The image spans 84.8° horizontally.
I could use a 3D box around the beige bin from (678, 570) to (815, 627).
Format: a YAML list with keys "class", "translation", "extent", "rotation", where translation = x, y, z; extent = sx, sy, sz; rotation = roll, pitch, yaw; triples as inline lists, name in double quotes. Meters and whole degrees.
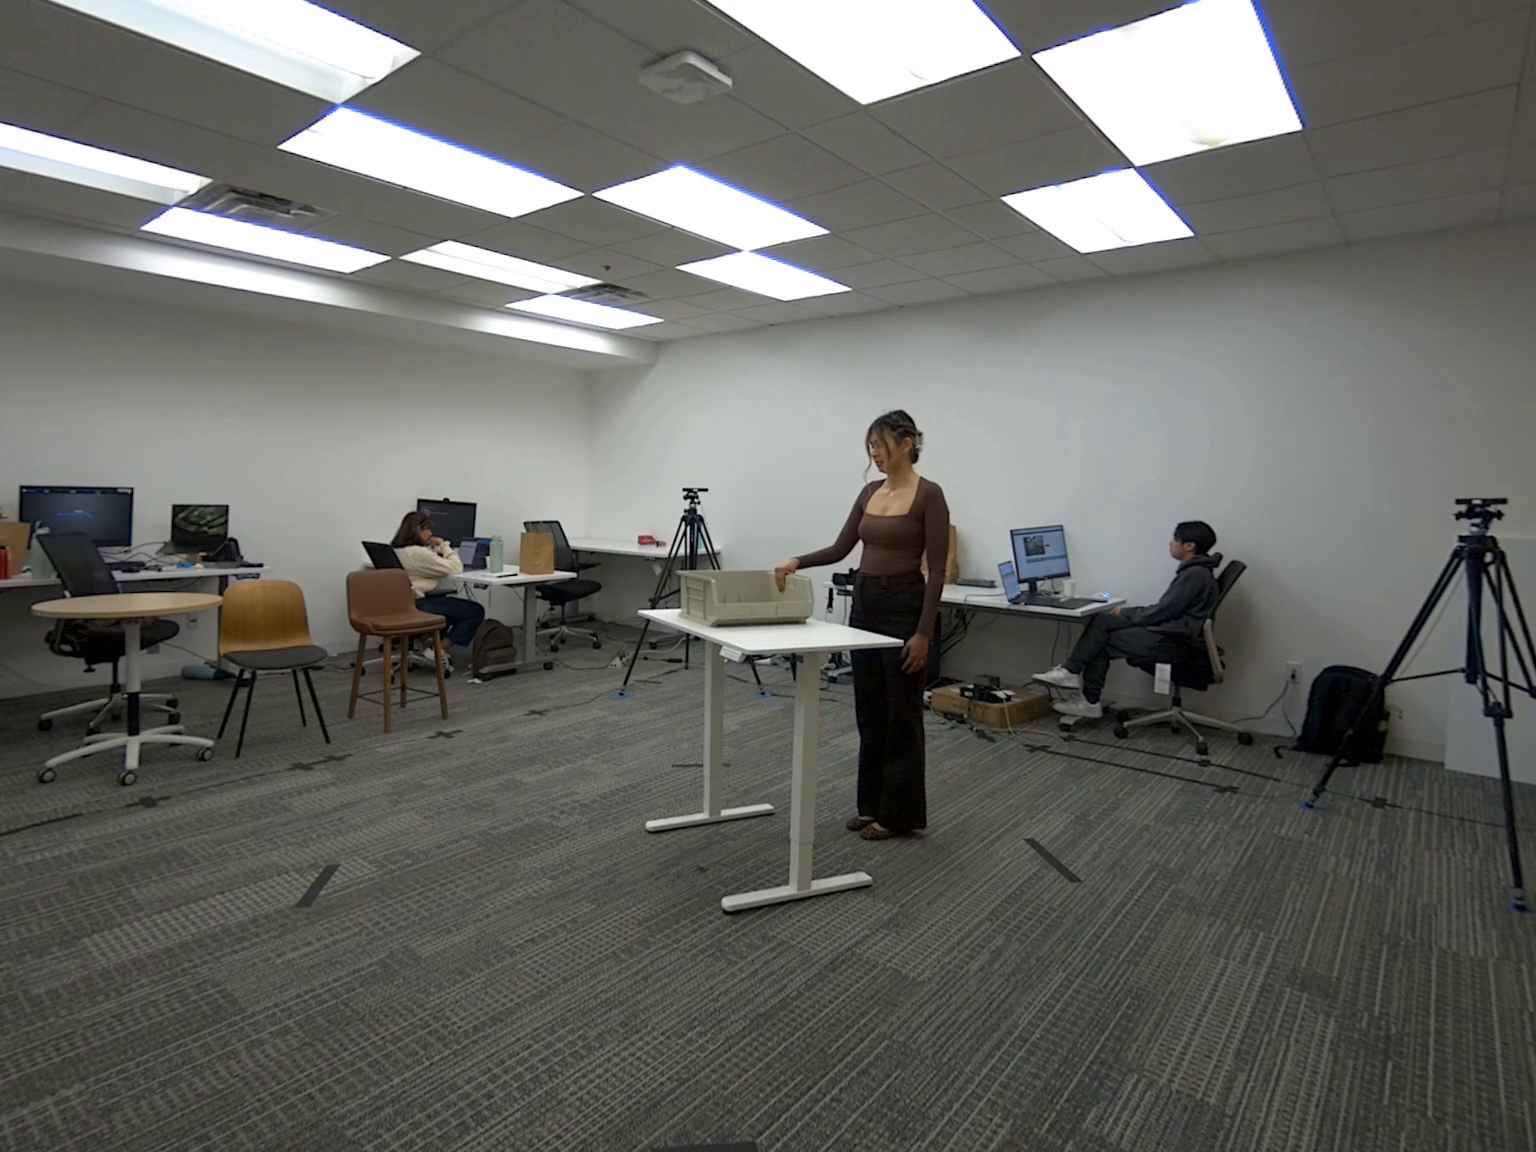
- class: "beige bin"
  translation: [-0.102, 0.082, 3.307]
  extent: [0.412, 0.188, 0.388]
  rotation: [-2, 5, -27]
